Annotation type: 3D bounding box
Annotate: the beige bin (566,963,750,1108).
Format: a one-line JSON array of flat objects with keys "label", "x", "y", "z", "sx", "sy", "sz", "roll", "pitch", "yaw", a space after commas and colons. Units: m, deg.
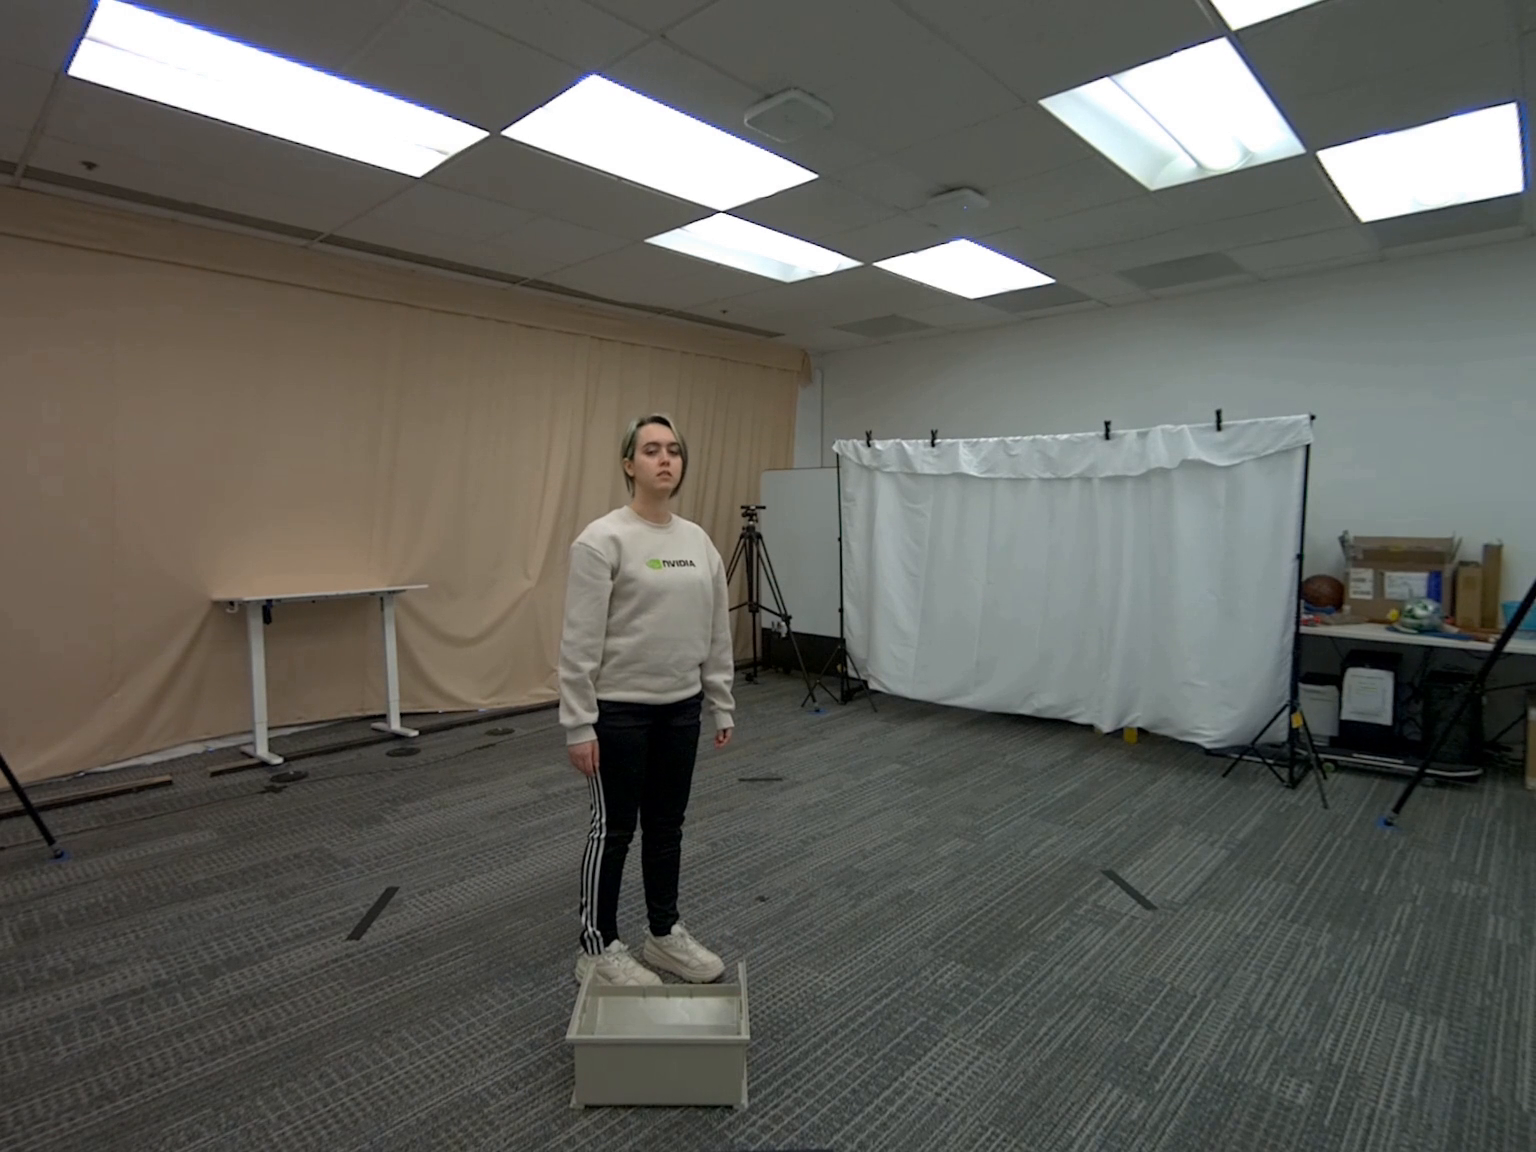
[{"label": "beige bin", "x": -0.261, "y": 1.127, "z": 2.114, "sx": 0.421, "sy": 0.188, "sz": 0.379, "roll": 0, "pitch": 4, "yaw": -3}]
